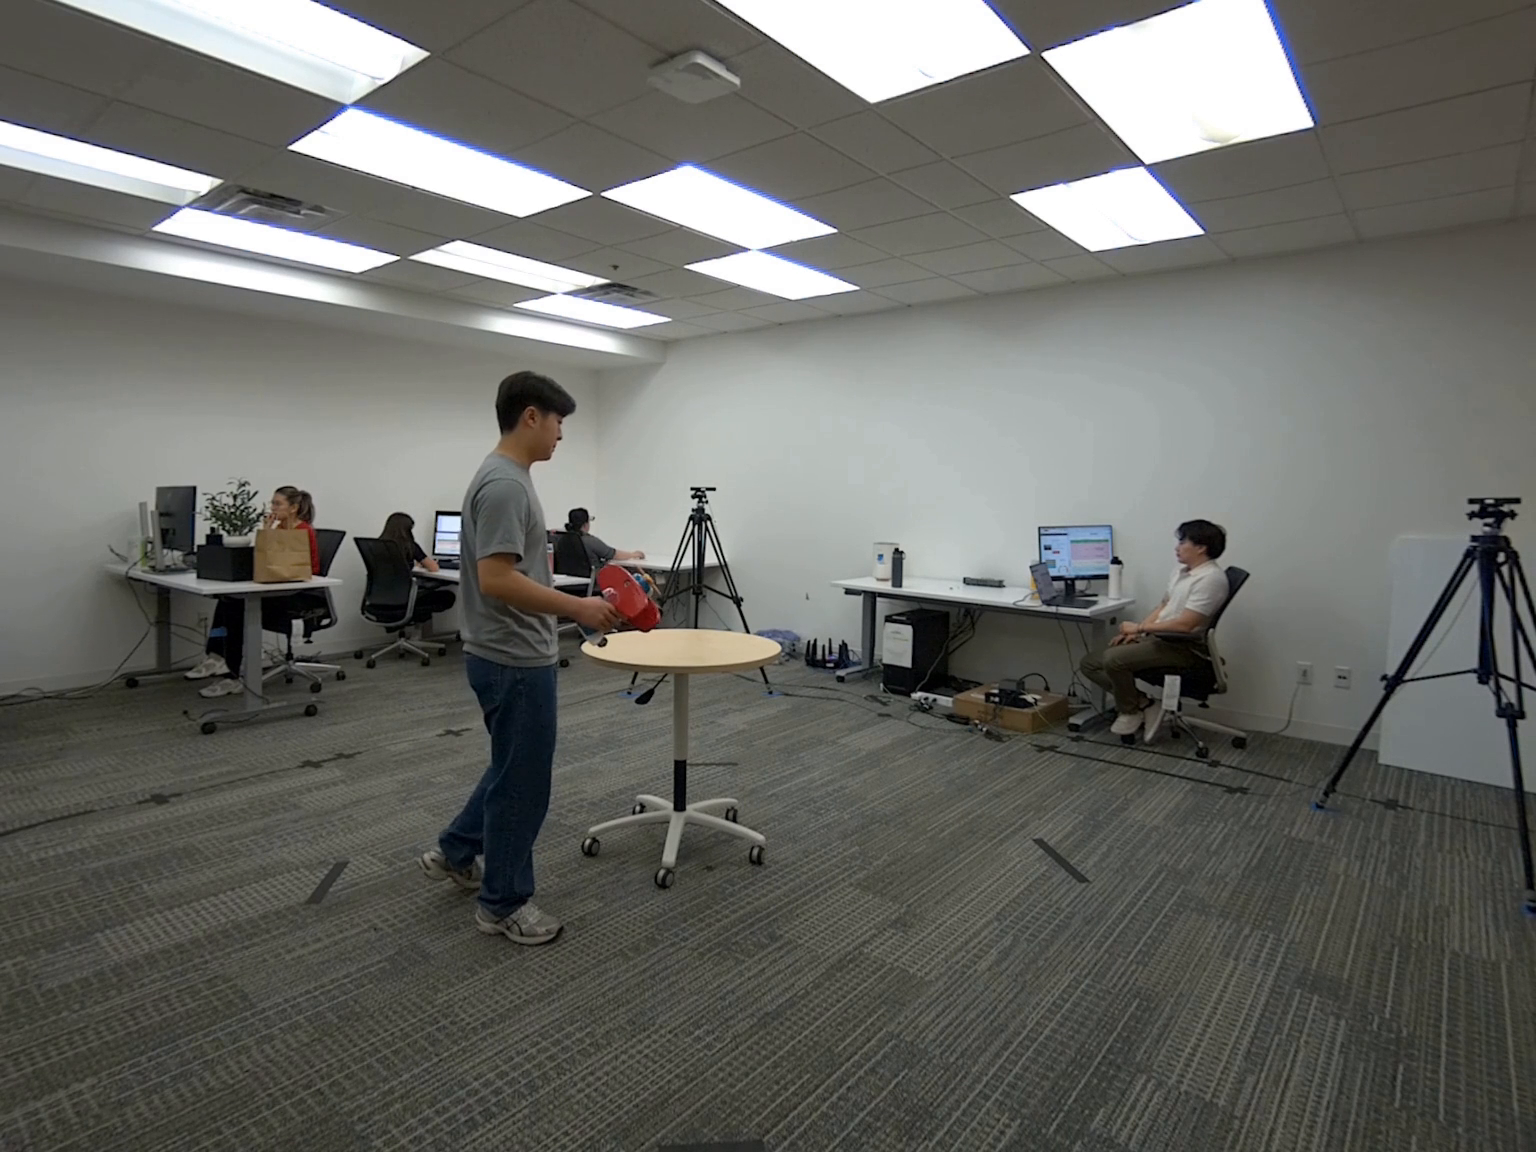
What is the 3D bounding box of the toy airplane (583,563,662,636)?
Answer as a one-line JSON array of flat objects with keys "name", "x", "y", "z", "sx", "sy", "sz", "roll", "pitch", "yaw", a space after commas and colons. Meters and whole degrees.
[{"name": "toy airplane", "x": -0.450, "y": 0.101, "z": 2.535, "sx": 0.259, "sy": 0.151, "sz": 0.260, "roll": 11, "pitch": 47, "yaw": 28}]
